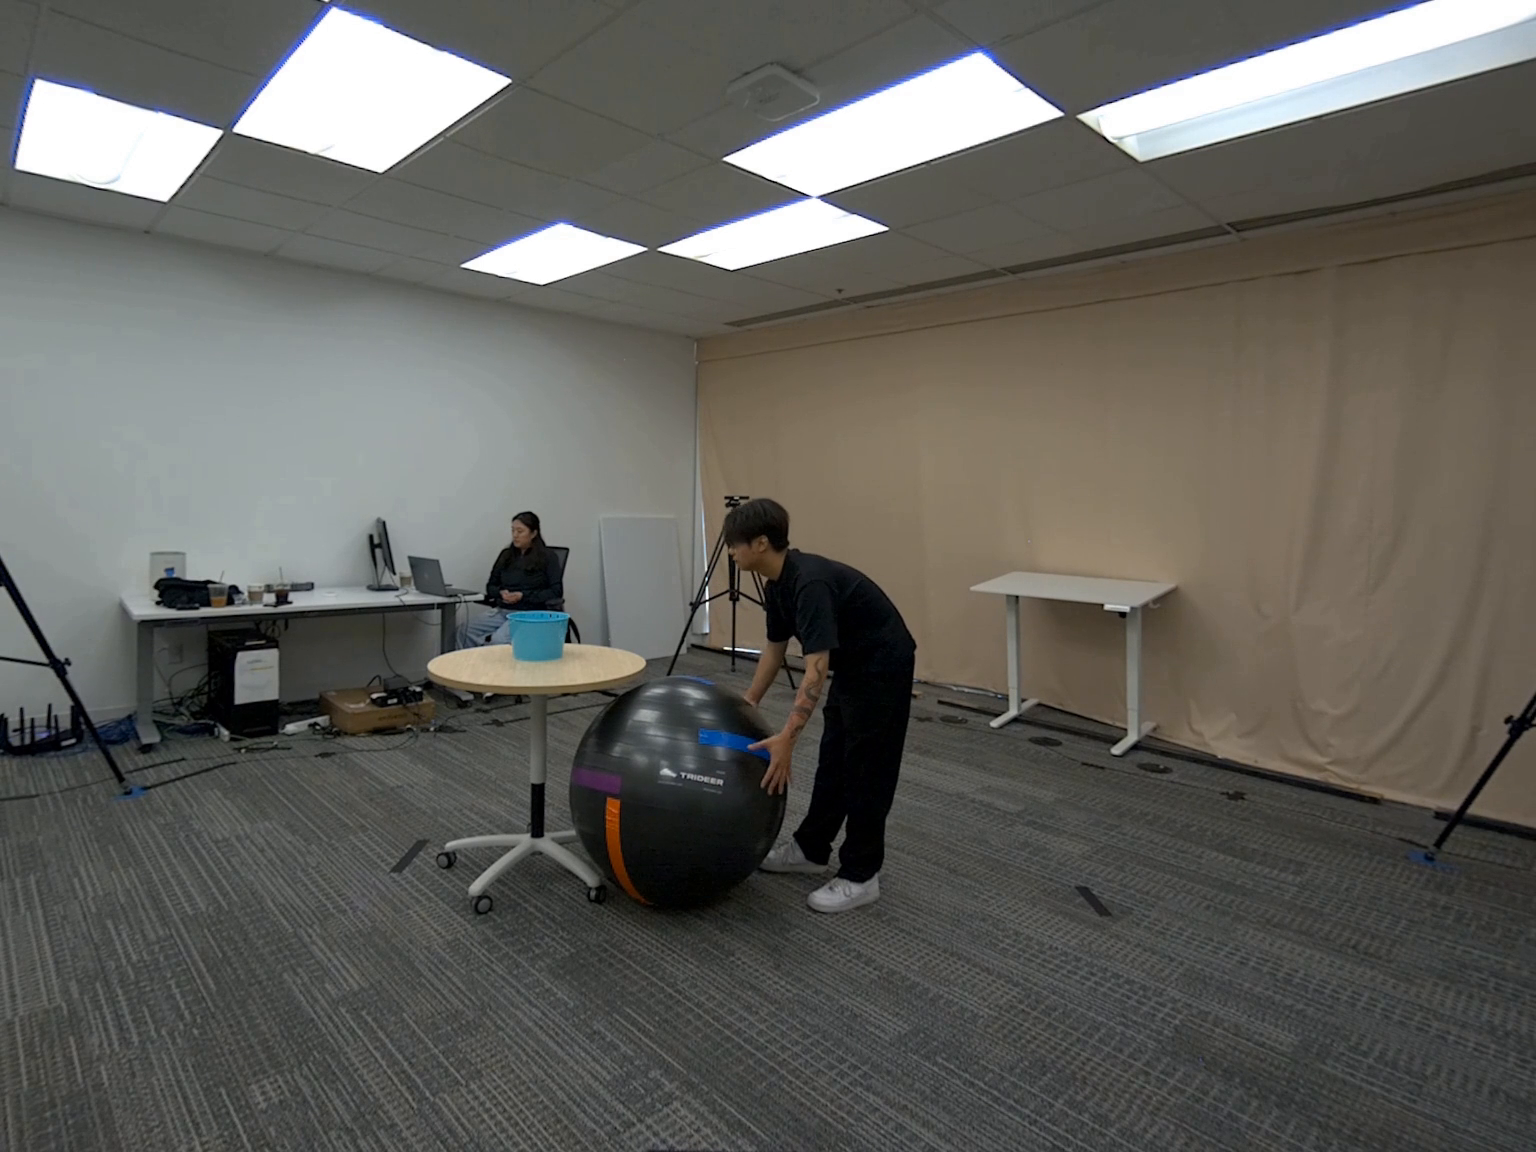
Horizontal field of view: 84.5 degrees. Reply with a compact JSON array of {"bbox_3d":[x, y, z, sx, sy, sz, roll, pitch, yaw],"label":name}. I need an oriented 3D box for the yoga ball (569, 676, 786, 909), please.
[{"bbox_3d":[-0.316,0.740,2.938,0.757,0.756,0.761,1,4,-1],"label":"yoga ball"}]
